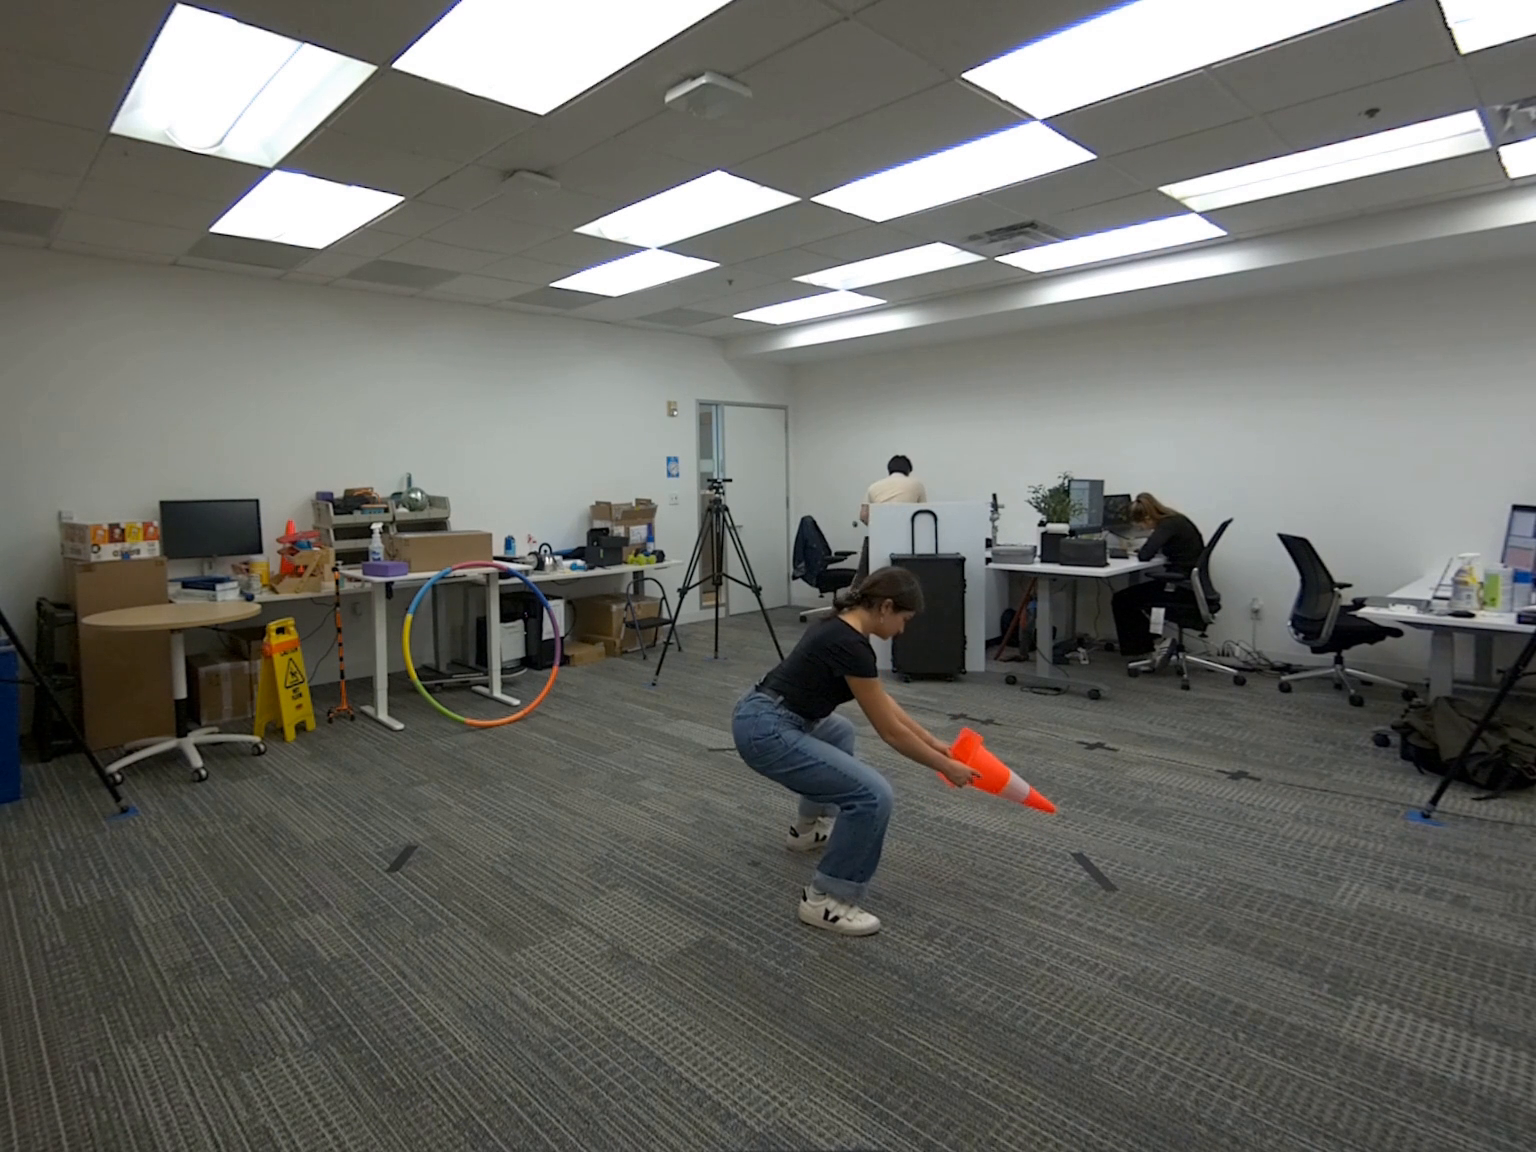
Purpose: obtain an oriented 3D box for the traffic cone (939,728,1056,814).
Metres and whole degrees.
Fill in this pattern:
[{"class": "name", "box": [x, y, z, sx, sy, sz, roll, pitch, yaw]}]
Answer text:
[{"class": "traffic cone", "box": [0.816, 0.706, 2.937, 0.382, 0.205, 0.204, 29, -5, -4]}]
